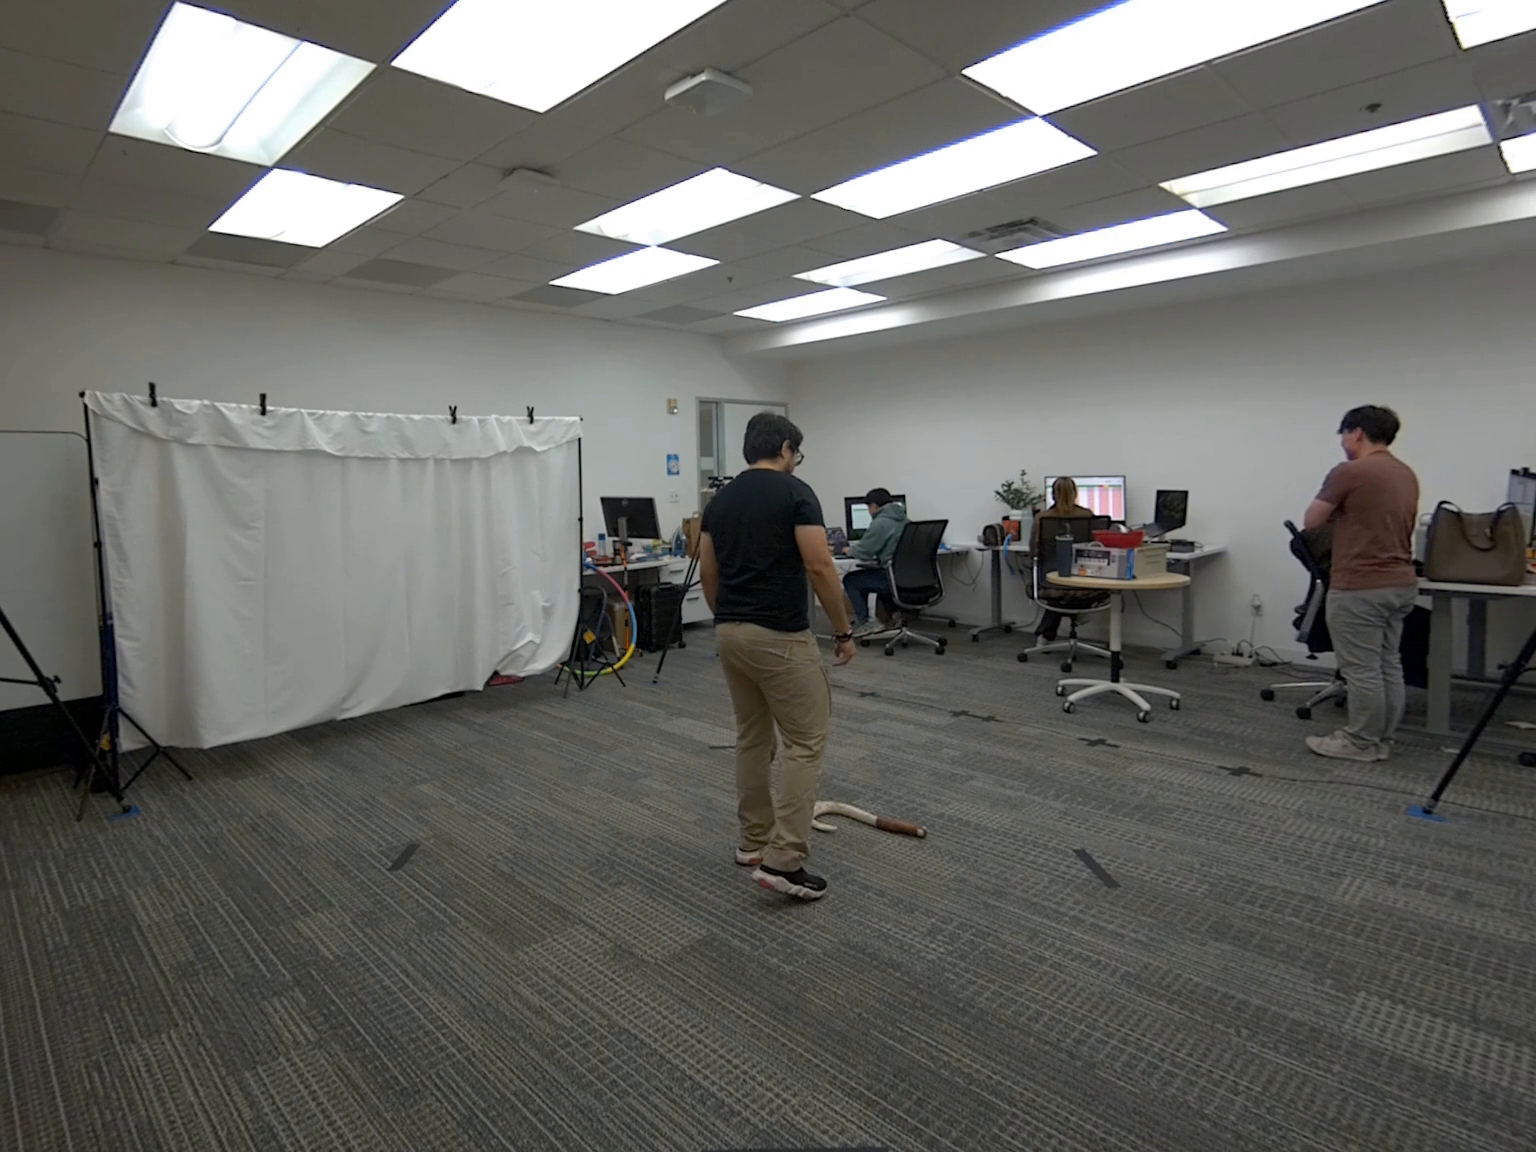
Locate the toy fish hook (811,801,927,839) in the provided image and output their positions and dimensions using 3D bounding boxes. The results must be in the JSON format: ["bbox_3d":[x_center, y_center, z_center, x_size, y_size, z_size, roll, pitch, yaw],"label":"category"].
[{"bbox_3d":[0.371,0.982,3.374,0.521,0.048,0.221,2,14,34],"label":"toy fish hook"}]
